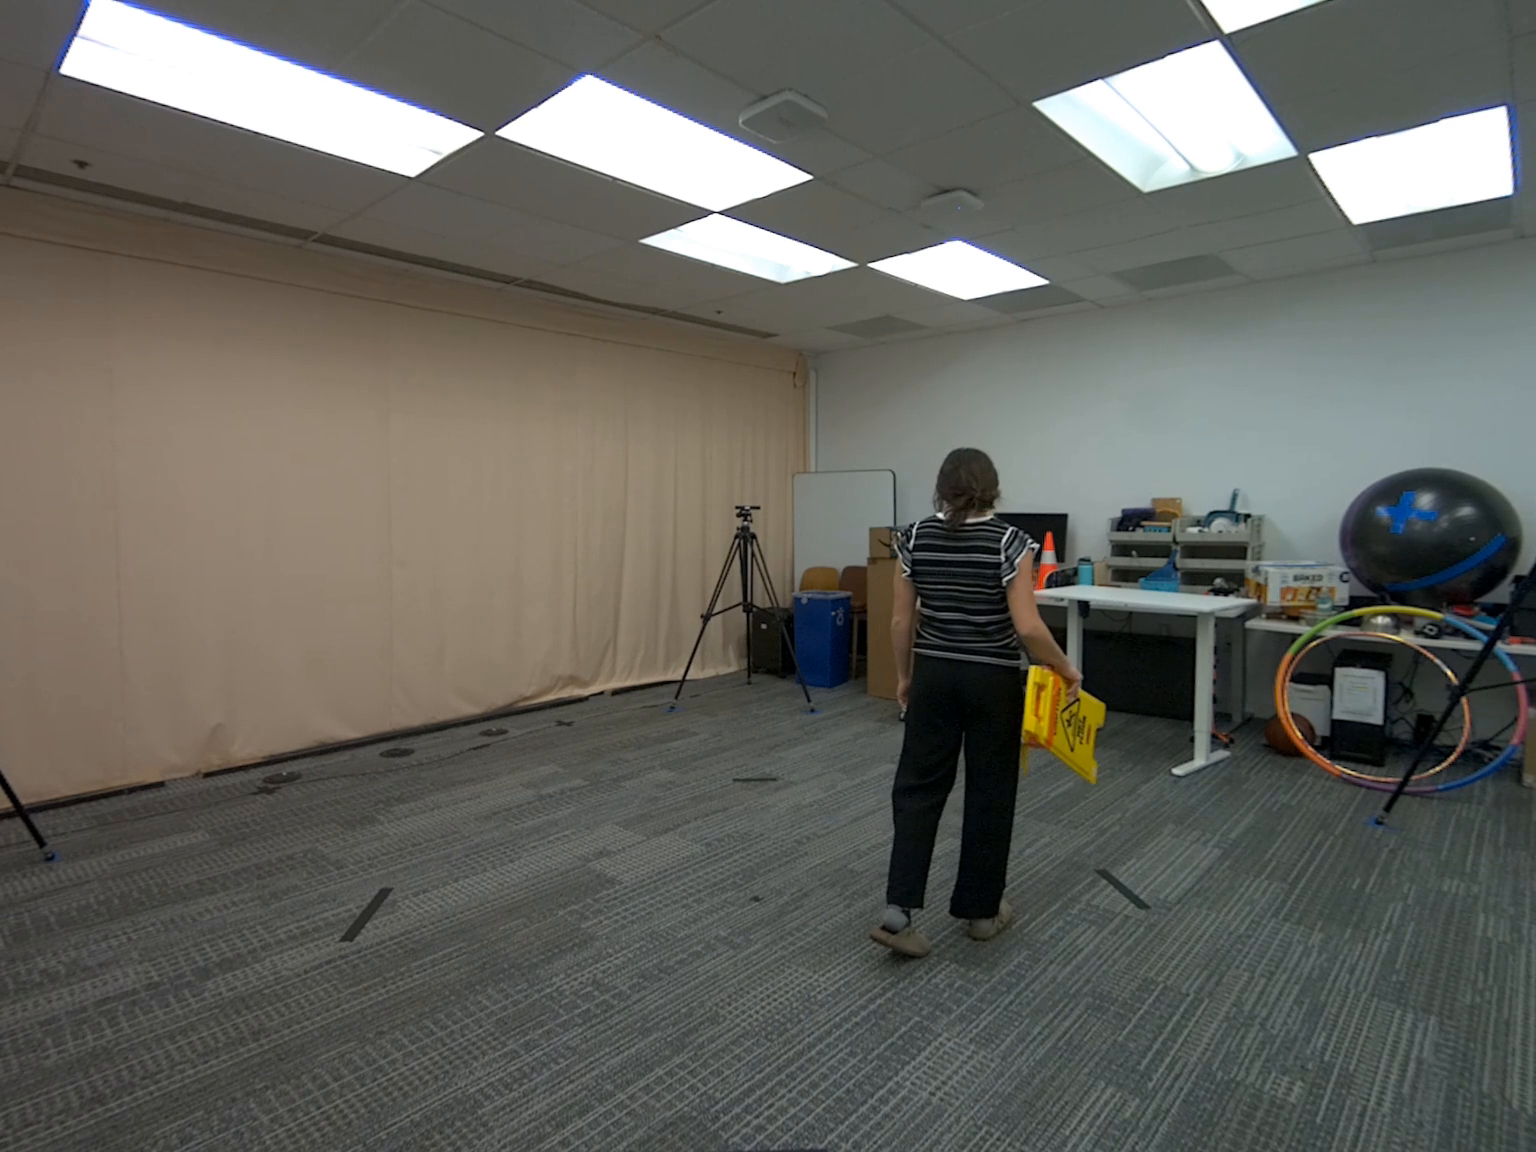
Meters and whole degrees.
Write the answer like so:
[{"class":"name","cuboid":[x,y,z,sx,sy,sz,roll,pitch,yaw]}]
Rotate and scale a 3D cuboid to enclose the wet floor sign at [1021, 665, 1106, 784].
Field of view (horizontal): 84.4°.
[{"class":"wet floor sign","cuboid":[0.906,0.468,2.707,0.297,0.284,0.624,1,-20,27]}]
